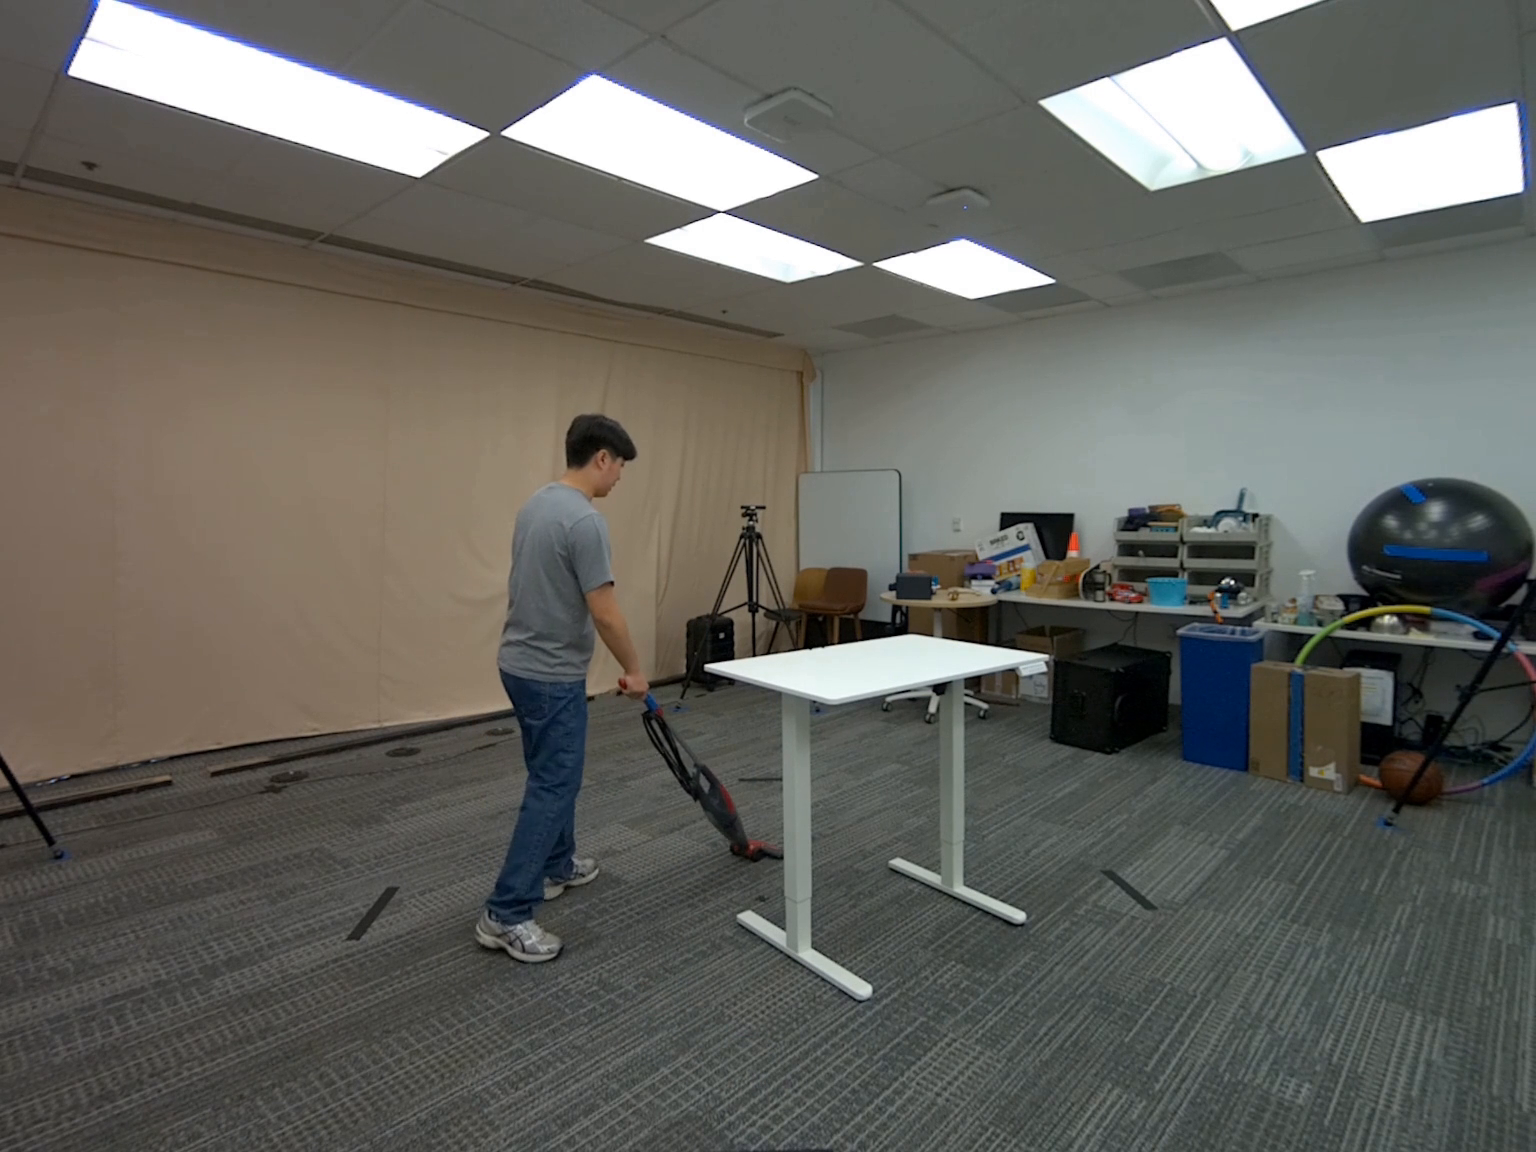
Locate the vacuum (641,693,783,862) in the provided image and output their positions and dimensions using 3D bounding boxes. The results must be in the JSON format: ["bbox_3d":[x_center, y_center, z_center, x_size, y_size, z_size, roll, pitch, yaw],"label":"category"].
[{"bbox_3d":[-0.278,0.741,3.110,0.260,1.018,0.144,-6,41,38],"label":"vacuum"}]
